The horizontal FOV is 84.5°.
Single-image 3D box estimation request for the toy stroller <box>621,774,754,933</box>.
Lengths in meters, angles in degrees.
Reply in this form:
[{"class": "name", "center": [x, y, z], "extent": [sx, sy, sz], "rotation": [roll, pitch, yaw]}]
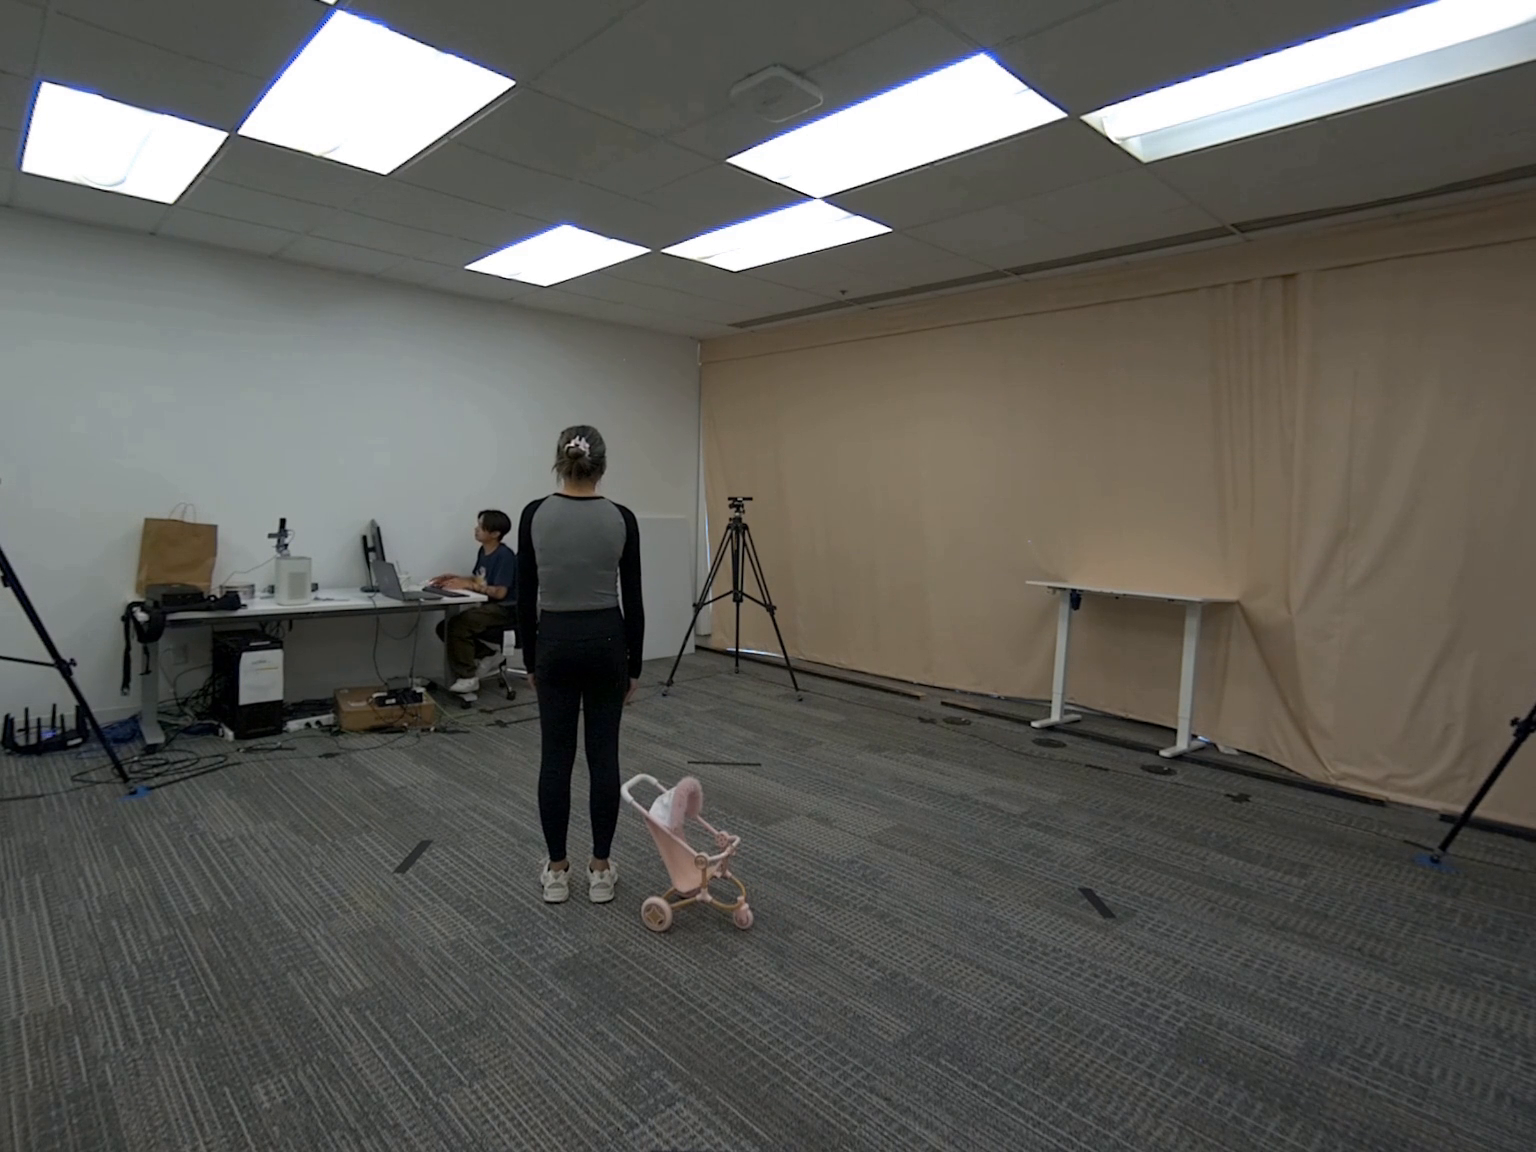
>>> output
[{"class": "toy stroller", "center": [-0.262, 0.911, 2.779], "extent": [0.346, 0.537, 0.277], "rotation": [-15, -4, 24]}]
